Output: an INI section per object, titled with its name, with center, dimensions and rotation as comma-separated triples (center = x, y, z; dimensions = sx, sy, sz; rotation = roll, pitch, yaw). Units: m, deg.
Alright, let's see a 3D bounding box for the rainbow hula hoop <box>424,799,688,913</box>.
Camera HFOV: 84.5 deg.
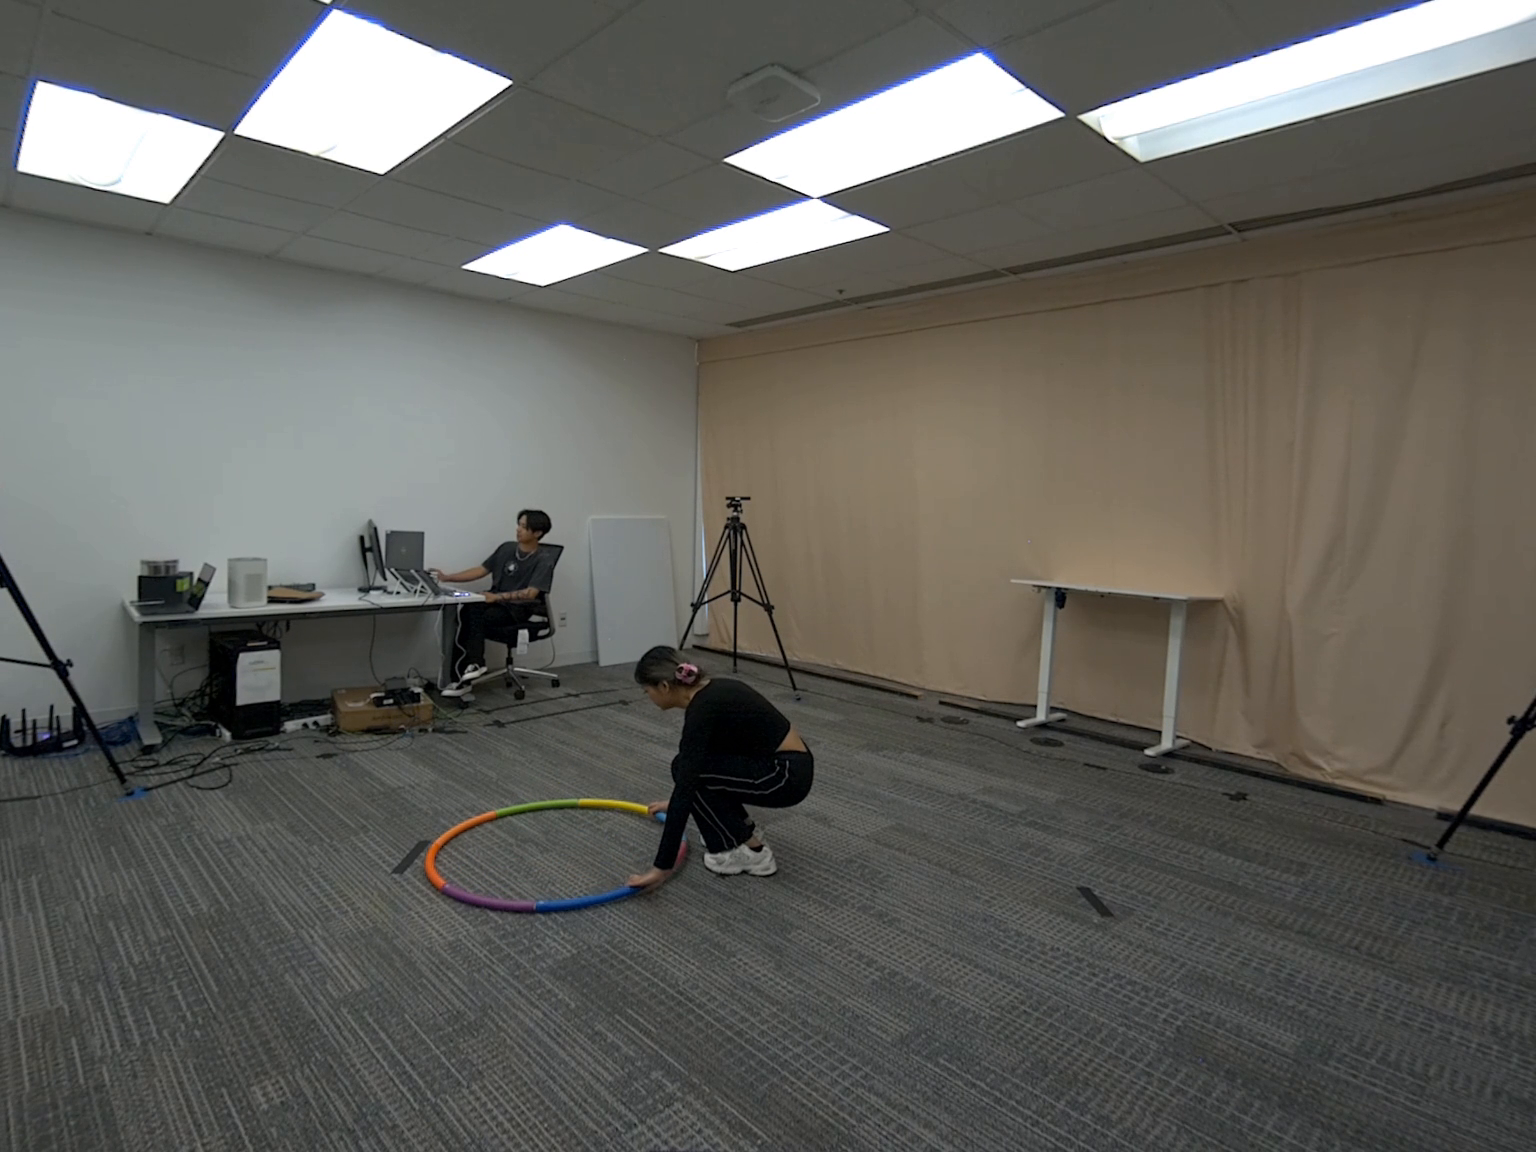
[rainbow hula hoop]
center = -0.810, 1.042, 3.272
dimensions = 0.978, 0.035, 0.982
rotation = 0, 6, -1
